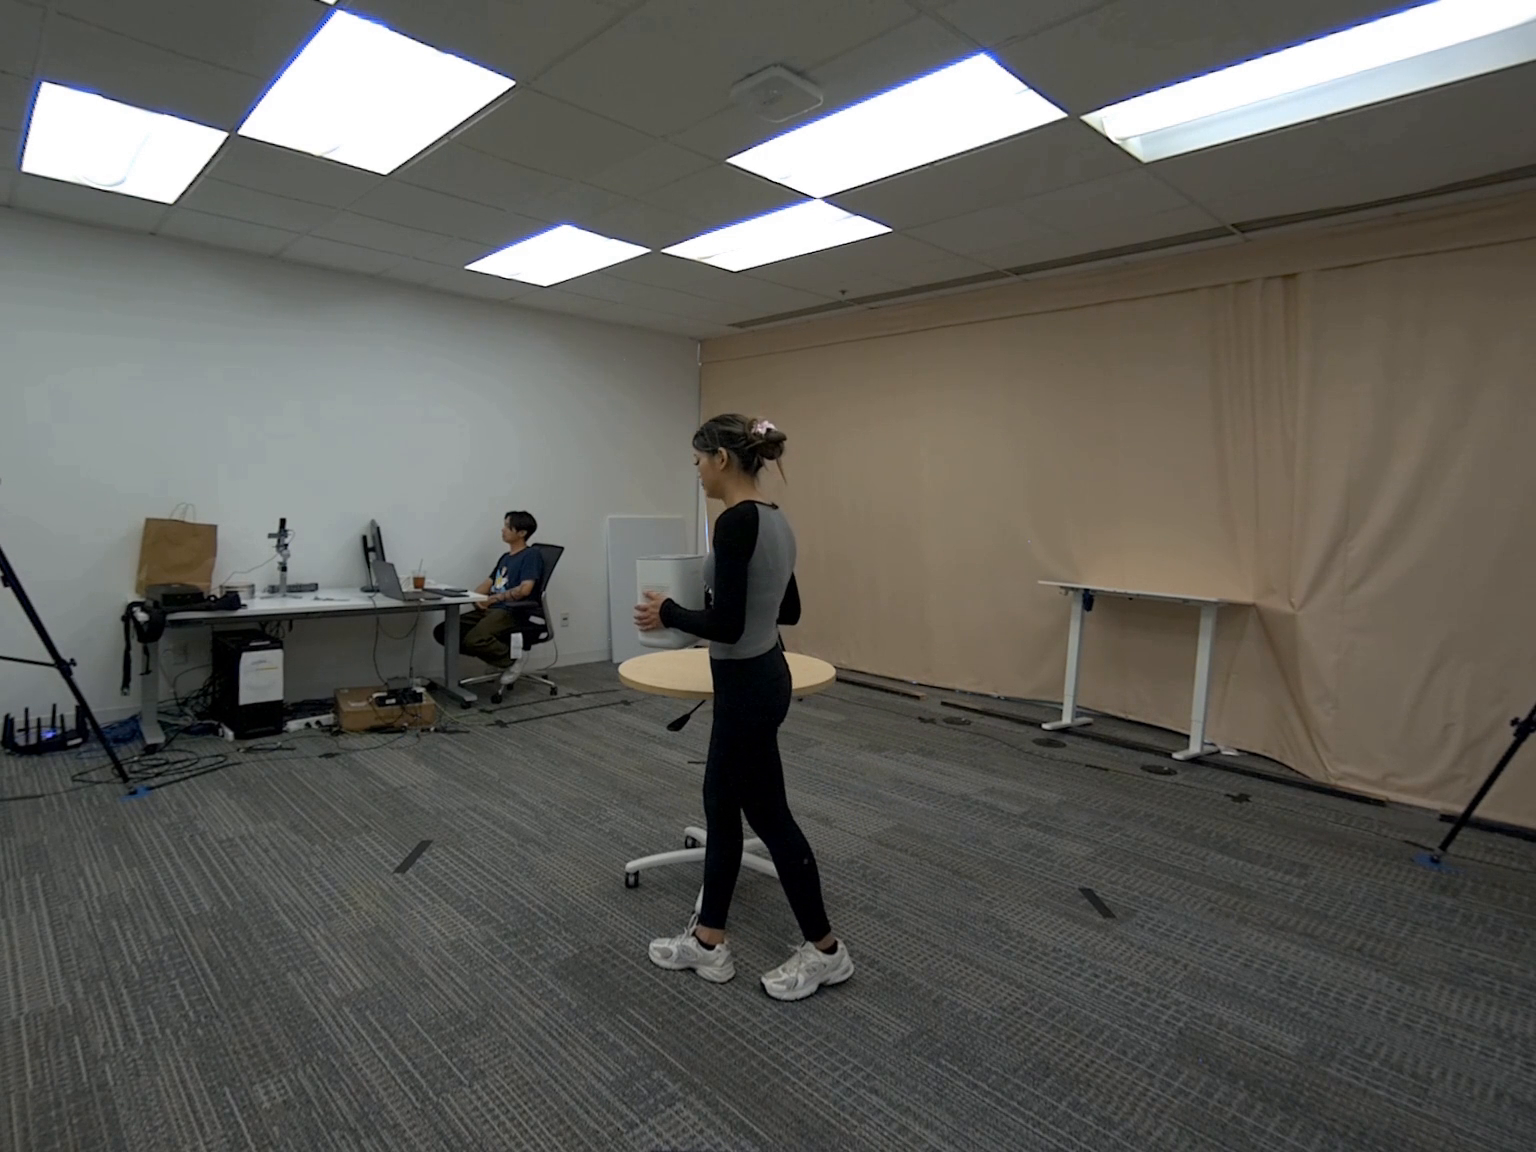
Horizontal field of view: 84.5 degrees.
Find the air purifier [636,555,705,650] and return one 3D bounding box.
[{"bbox_3d":[-0.283,0.074,2.479,0.175,0.264,0.168,2,5,28],"label":"air purifier"}]
